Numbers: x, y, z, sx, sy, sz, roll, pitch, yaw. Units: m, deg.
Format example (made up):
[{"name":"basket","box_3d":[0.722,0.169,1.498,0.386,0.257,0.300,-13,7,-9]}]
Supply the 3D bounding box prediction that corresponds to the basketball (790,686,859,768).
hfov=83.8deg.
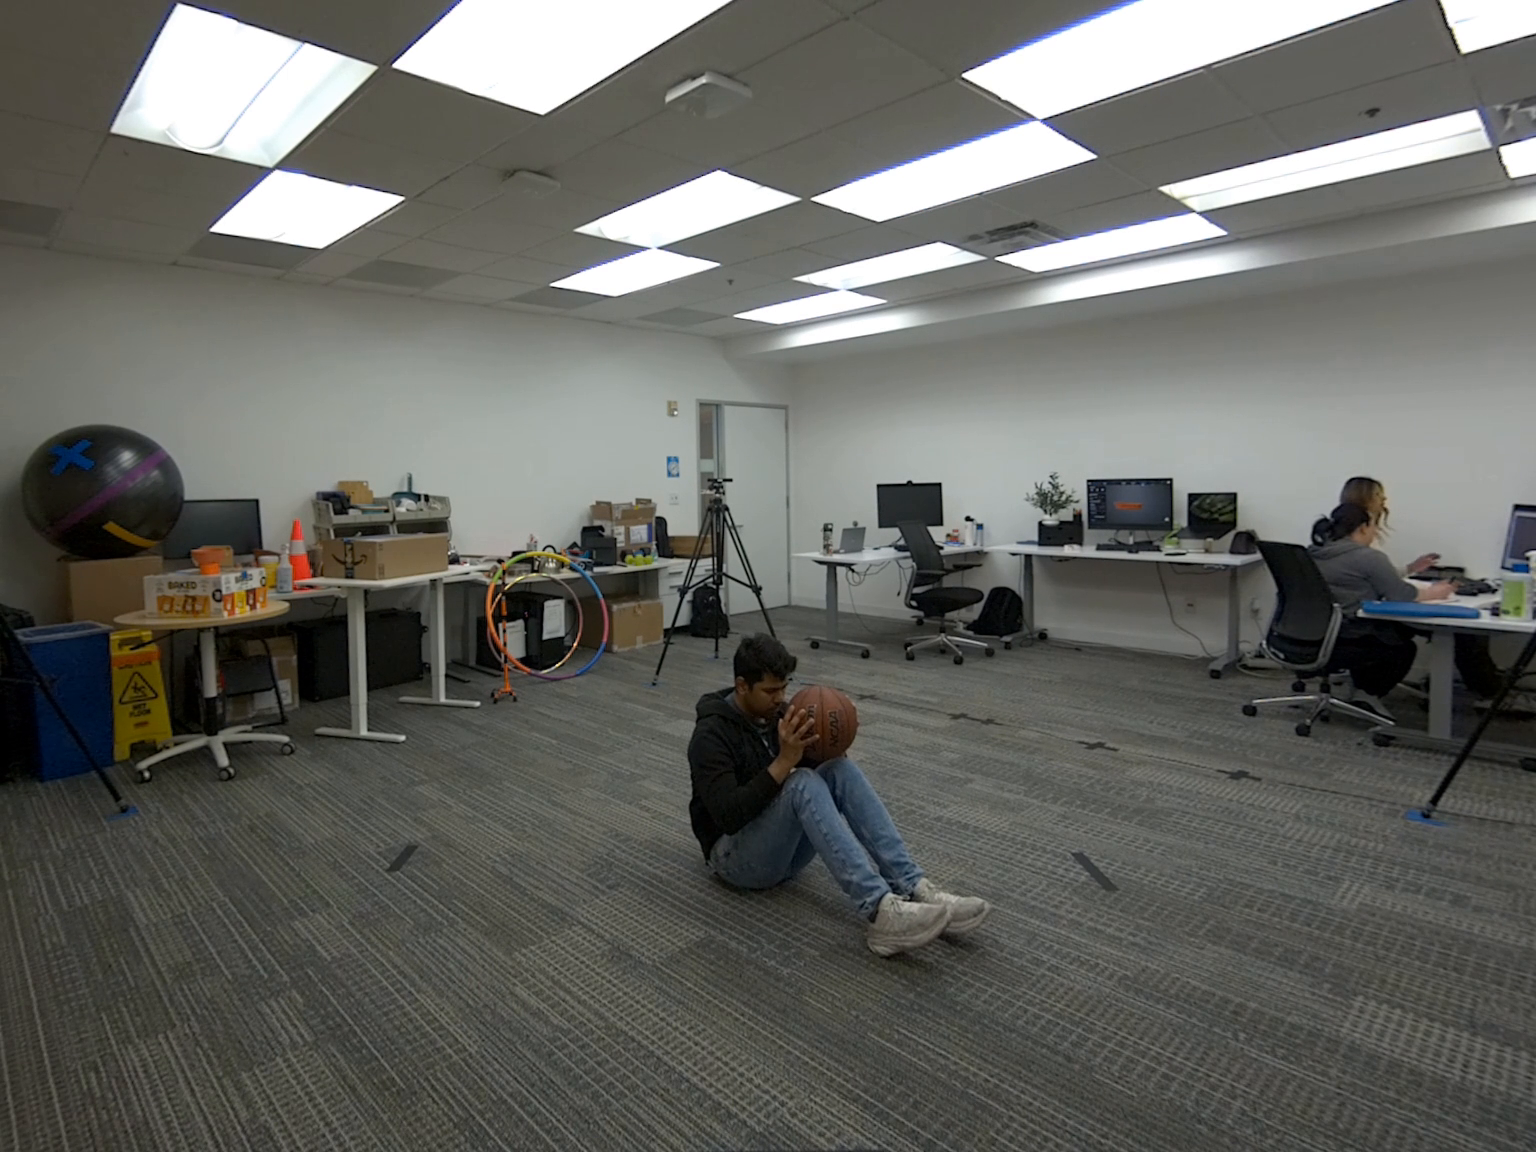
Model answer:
[{"name":"basketball","box_3d":[0.159,0.465,2.796,0.236,0.235,0.237,-1,5,-2]}]
